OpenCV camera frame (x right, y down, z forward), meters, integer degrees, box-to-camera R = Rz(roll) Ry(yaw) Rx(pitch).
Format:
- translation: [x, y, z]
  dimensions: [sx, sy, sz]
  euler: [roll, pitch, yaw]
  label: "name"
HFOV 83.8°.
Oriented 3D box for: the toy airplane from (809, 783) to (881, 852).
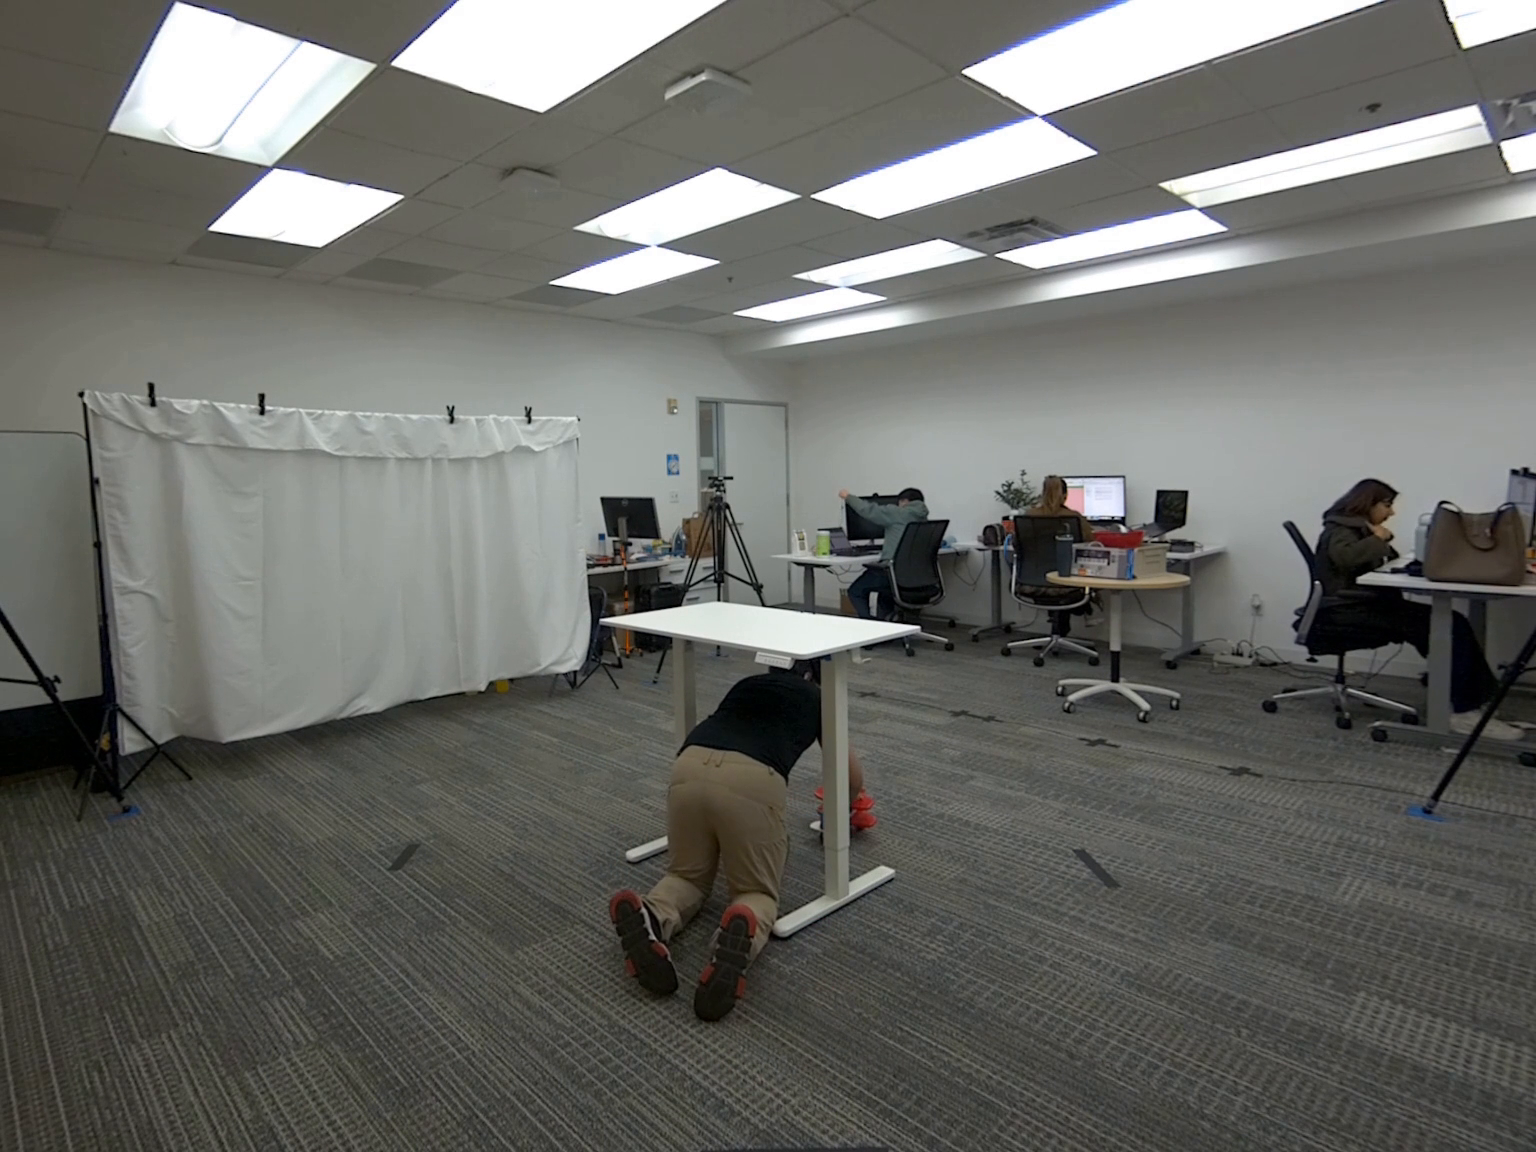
- translation: [0.299, 0.925, 3.310]
  dimensions: [0.254, 0.156, 0.257]
  euler: [0, 5, 11]
  label: "toy airplane"
